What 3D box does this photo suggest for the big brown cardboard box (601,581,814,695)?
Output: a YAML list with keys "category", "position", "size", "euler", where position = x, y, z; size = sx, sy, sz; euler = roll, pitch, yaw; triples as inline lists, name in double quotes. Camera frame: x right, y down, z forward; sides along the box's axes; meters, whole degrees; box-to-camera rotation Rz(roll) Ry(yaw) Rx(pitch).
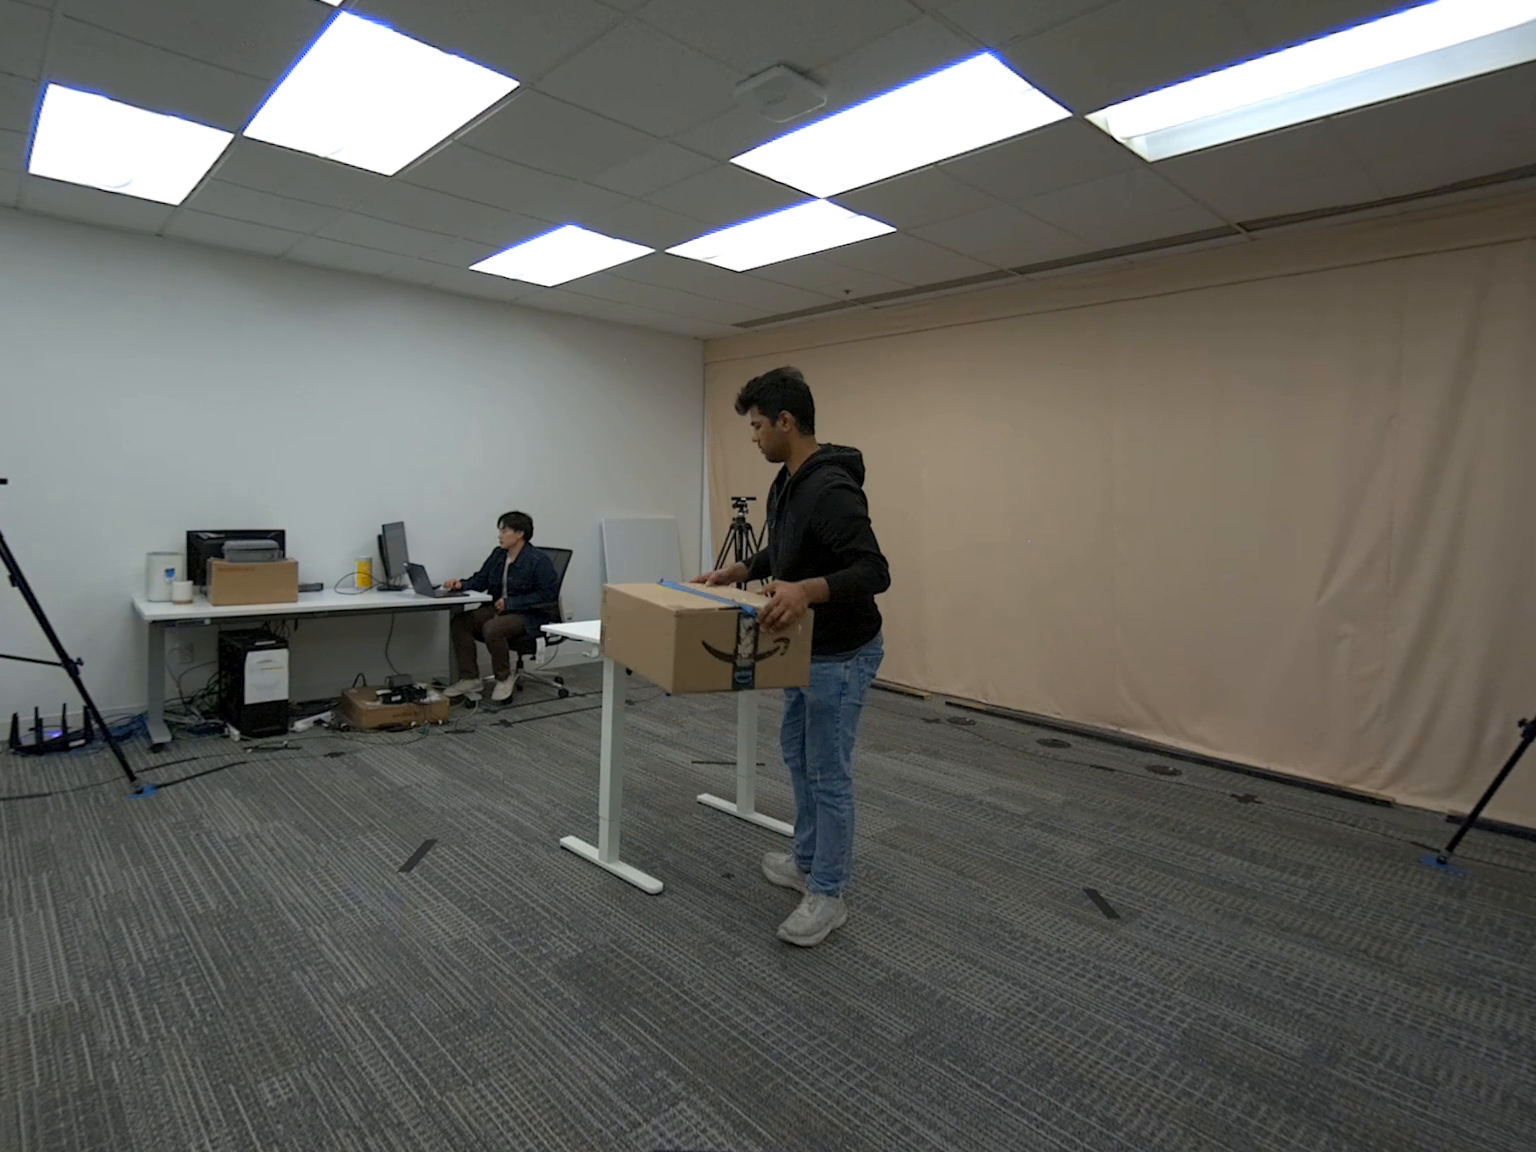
- category: "big brown cardboard box"
  position: [-0.204, 0.175, 2.476]
  size: [0.409, 0.232, 0.602]
  euler: [1, 5, -29]
